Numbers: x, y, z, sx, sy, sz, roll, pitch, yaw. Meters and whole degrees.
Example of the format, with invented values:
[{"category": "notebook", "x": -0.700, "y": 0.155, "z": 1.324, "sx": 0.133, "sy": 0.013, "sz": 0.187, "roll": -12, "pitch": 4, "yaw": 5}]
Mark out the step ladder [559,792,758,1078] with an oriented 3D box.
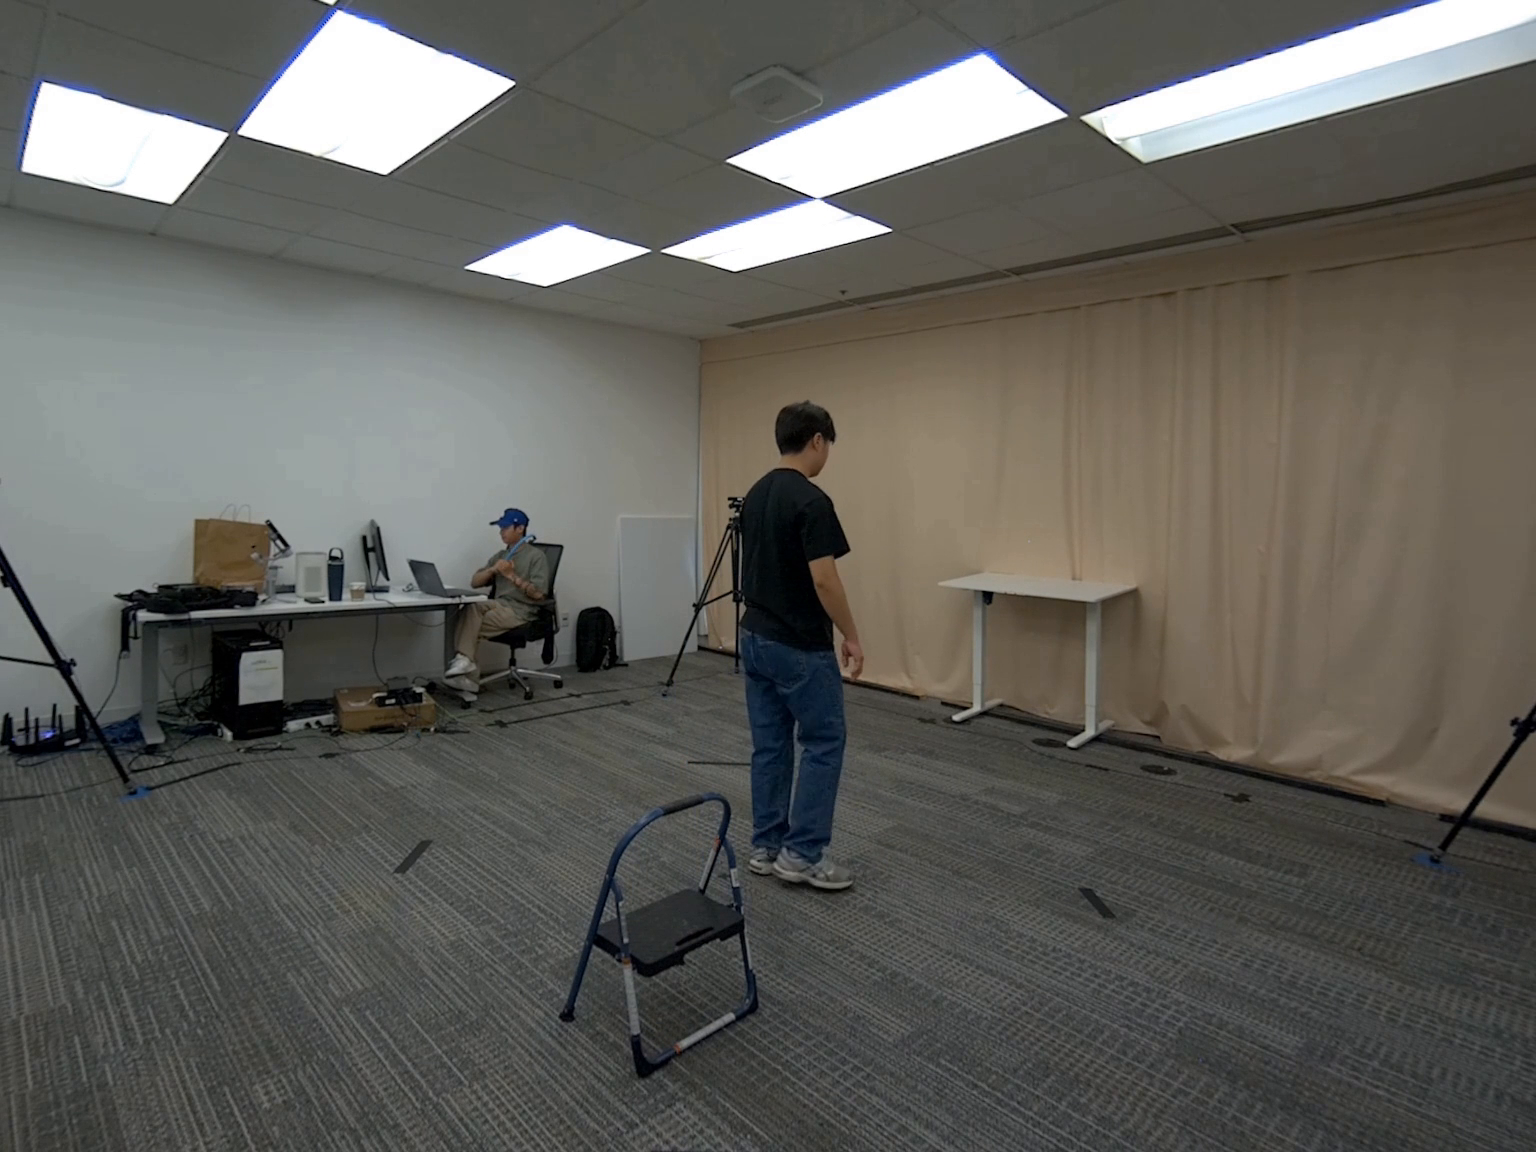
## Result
[{"category": "step ladder", "x": -0.284, "y": 0.879, "z": 2.255, "sx": 0.358, "sy": 0.604, "sz": 0.421, "roll": 5, "pitch": 5, "yaw": 42}]
